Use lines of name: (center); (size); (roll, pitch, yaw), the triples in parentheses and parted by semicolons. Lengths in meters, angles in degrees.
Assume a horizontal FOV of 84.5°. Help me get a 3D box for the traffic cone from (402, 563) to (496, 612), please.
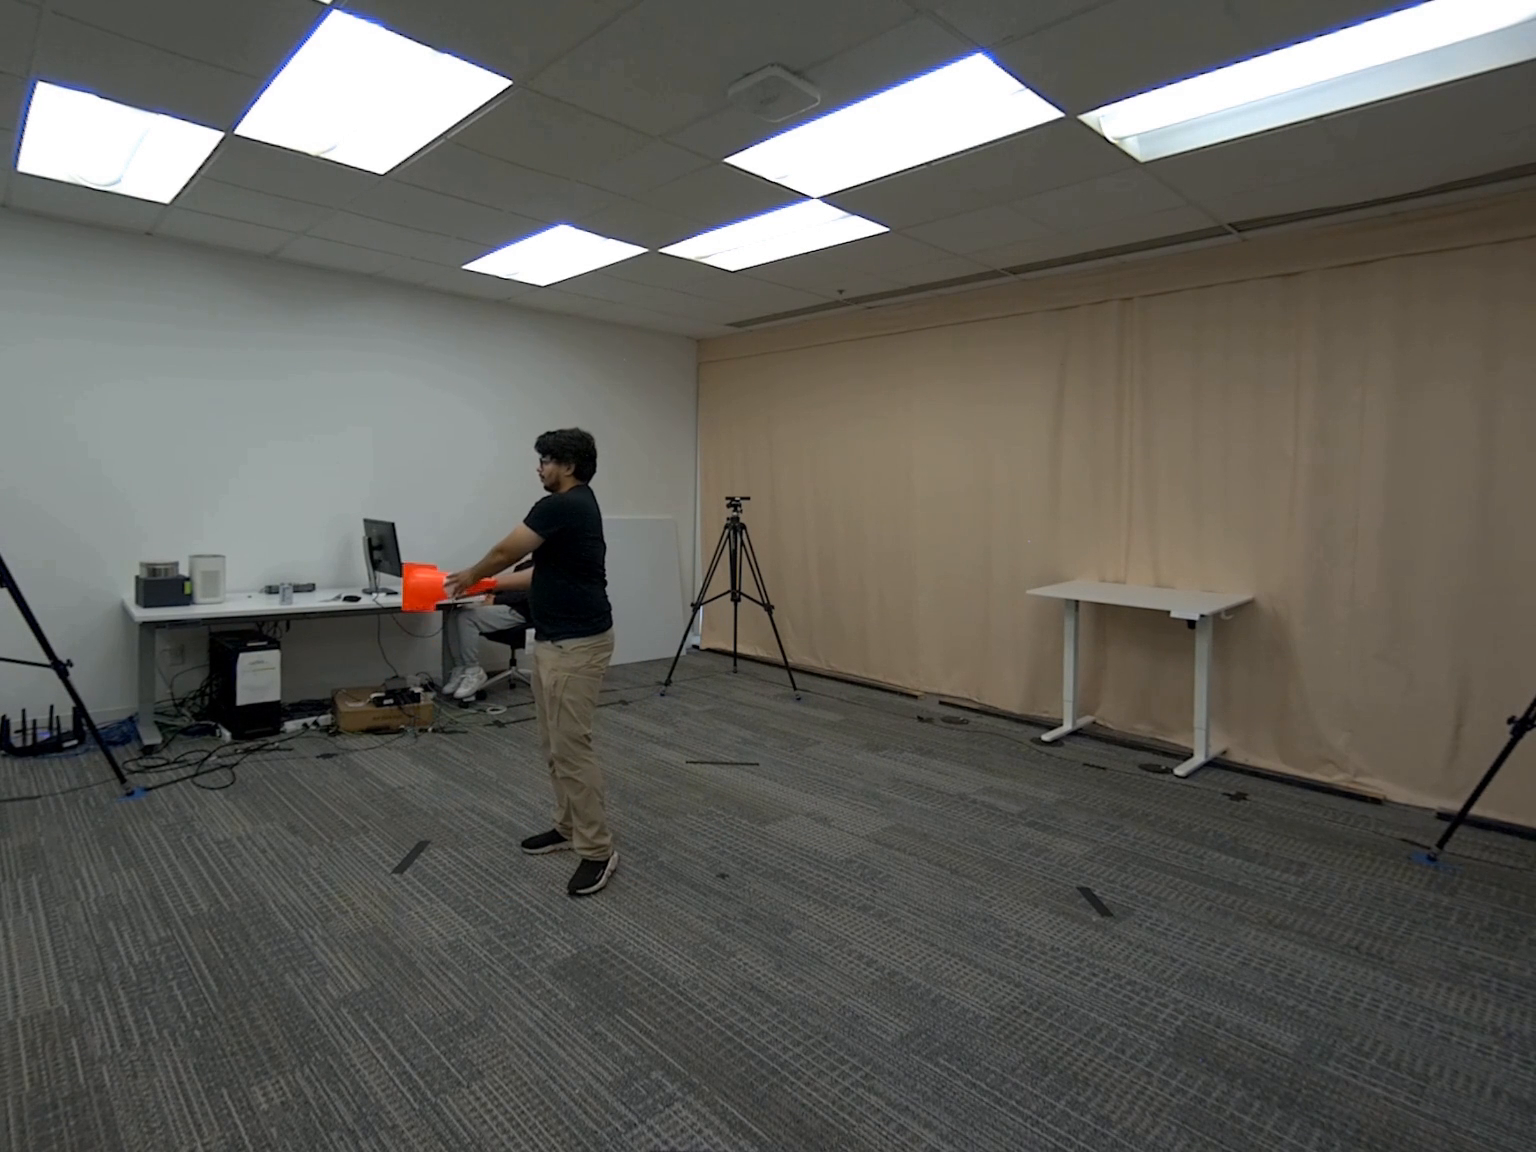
traffic cone: (-1.287, 0.053, 3.440); (0.390, 0.205, 0.200); (-1, 0, 22)
